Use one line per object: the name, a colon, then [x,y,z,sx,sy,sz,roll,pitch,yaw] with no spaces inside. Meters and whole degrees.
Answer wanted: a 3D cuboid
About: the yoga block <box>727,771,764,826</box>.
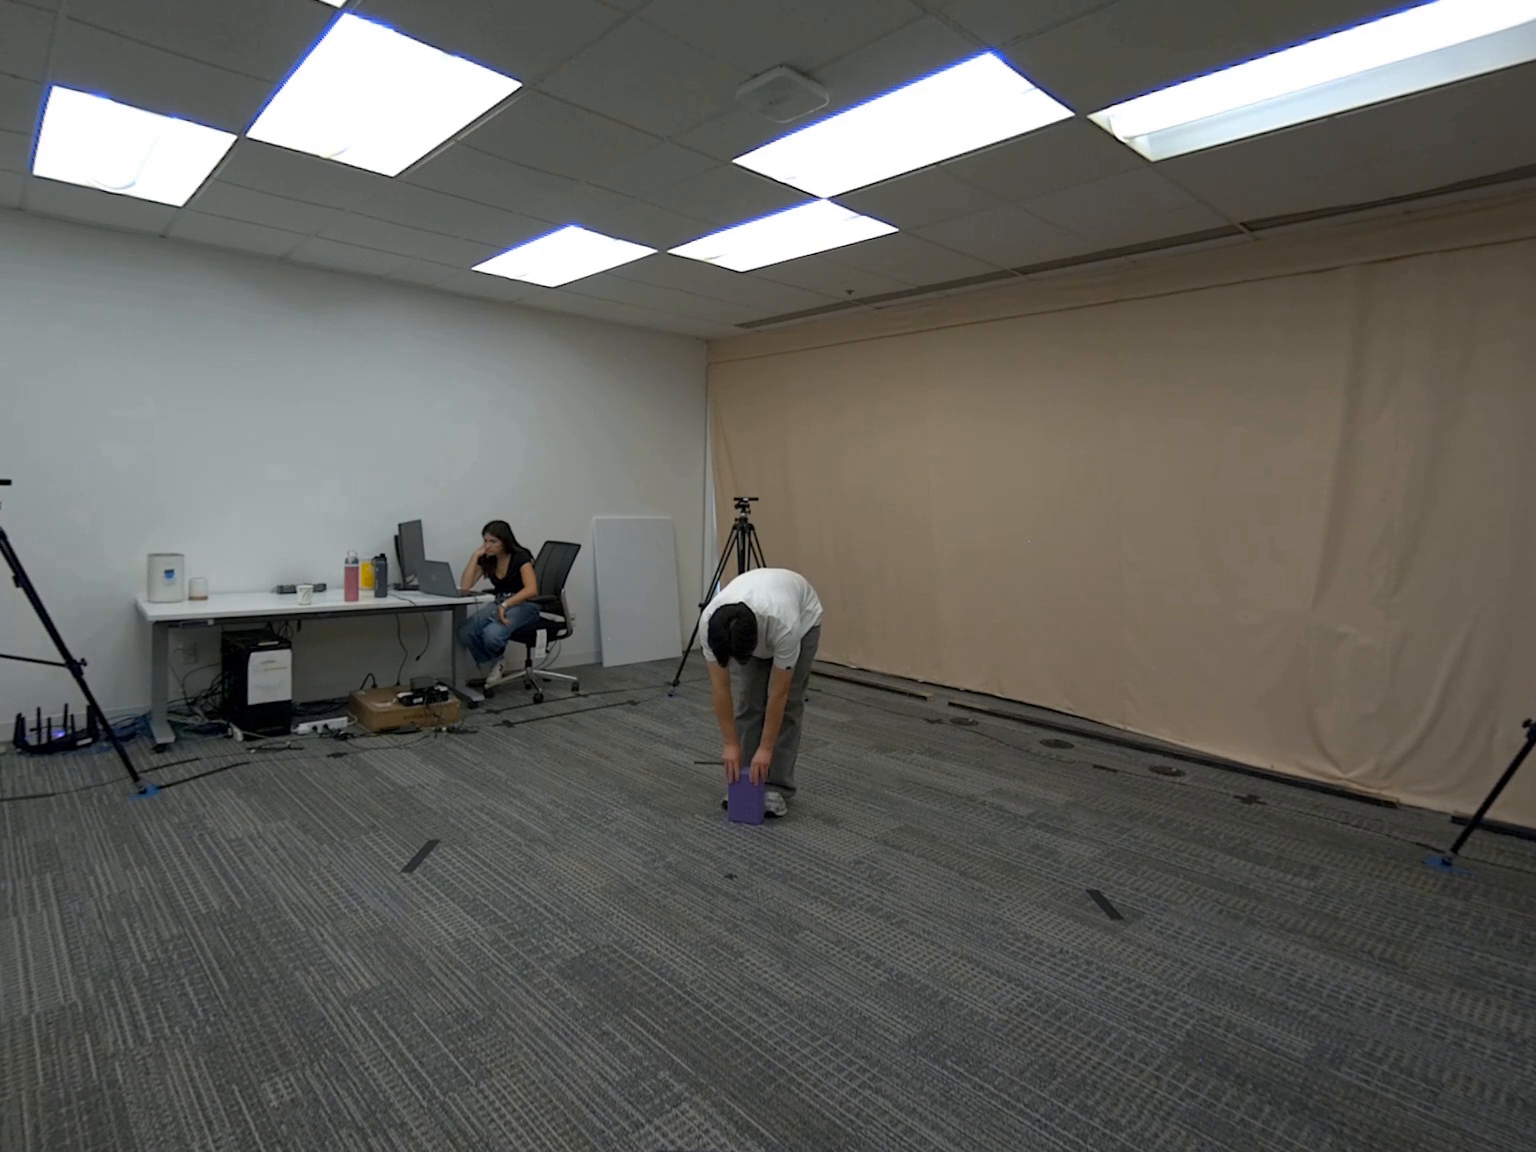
yoga block: [-0.112,0.958,3.640,0.150,0.228,0.076,2,5,13]
